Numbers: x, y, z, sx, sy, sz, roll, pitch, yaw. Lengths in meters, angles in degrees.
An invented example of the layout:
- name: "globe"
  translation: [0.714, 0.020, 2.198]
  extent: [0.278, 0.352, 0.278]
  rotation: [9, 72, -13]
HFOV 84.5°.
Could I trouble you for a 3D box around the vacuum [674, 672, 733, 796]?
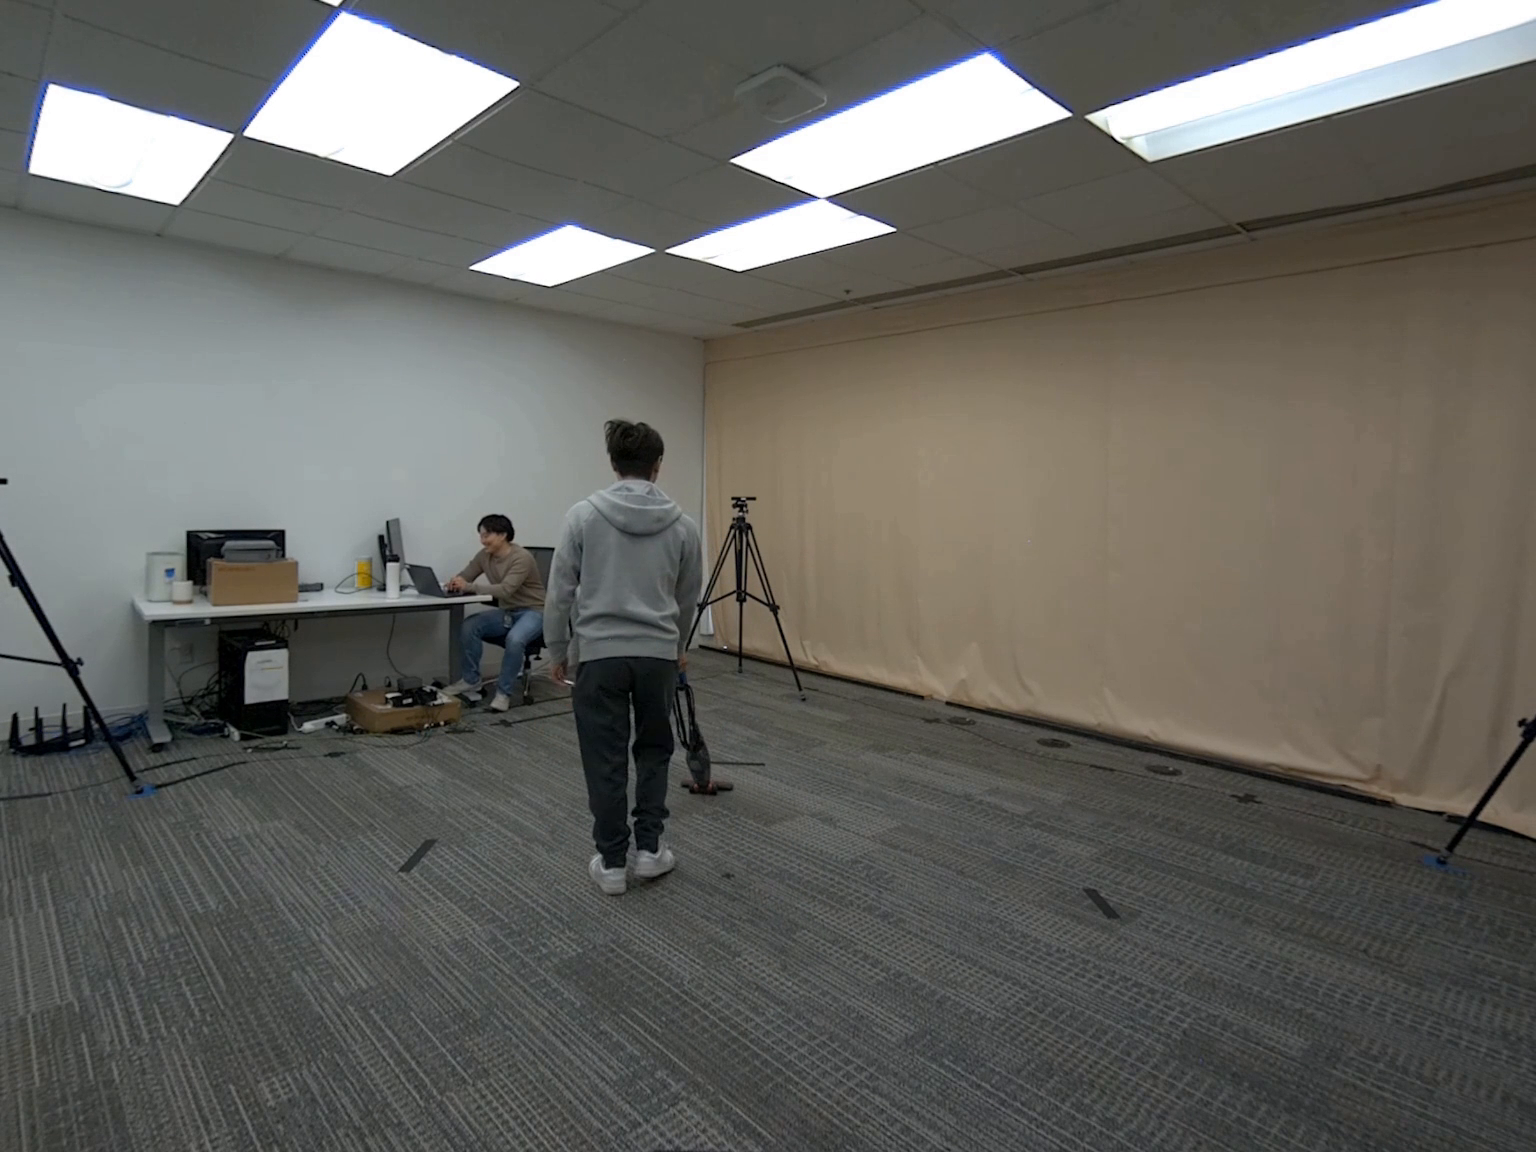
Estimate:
- name: "vacuum"
  translation: [-0.335, 0.674, 3.659]
  extent: [0.255, 0.146, 1.024]
  rotation: [6, -41, 9]
